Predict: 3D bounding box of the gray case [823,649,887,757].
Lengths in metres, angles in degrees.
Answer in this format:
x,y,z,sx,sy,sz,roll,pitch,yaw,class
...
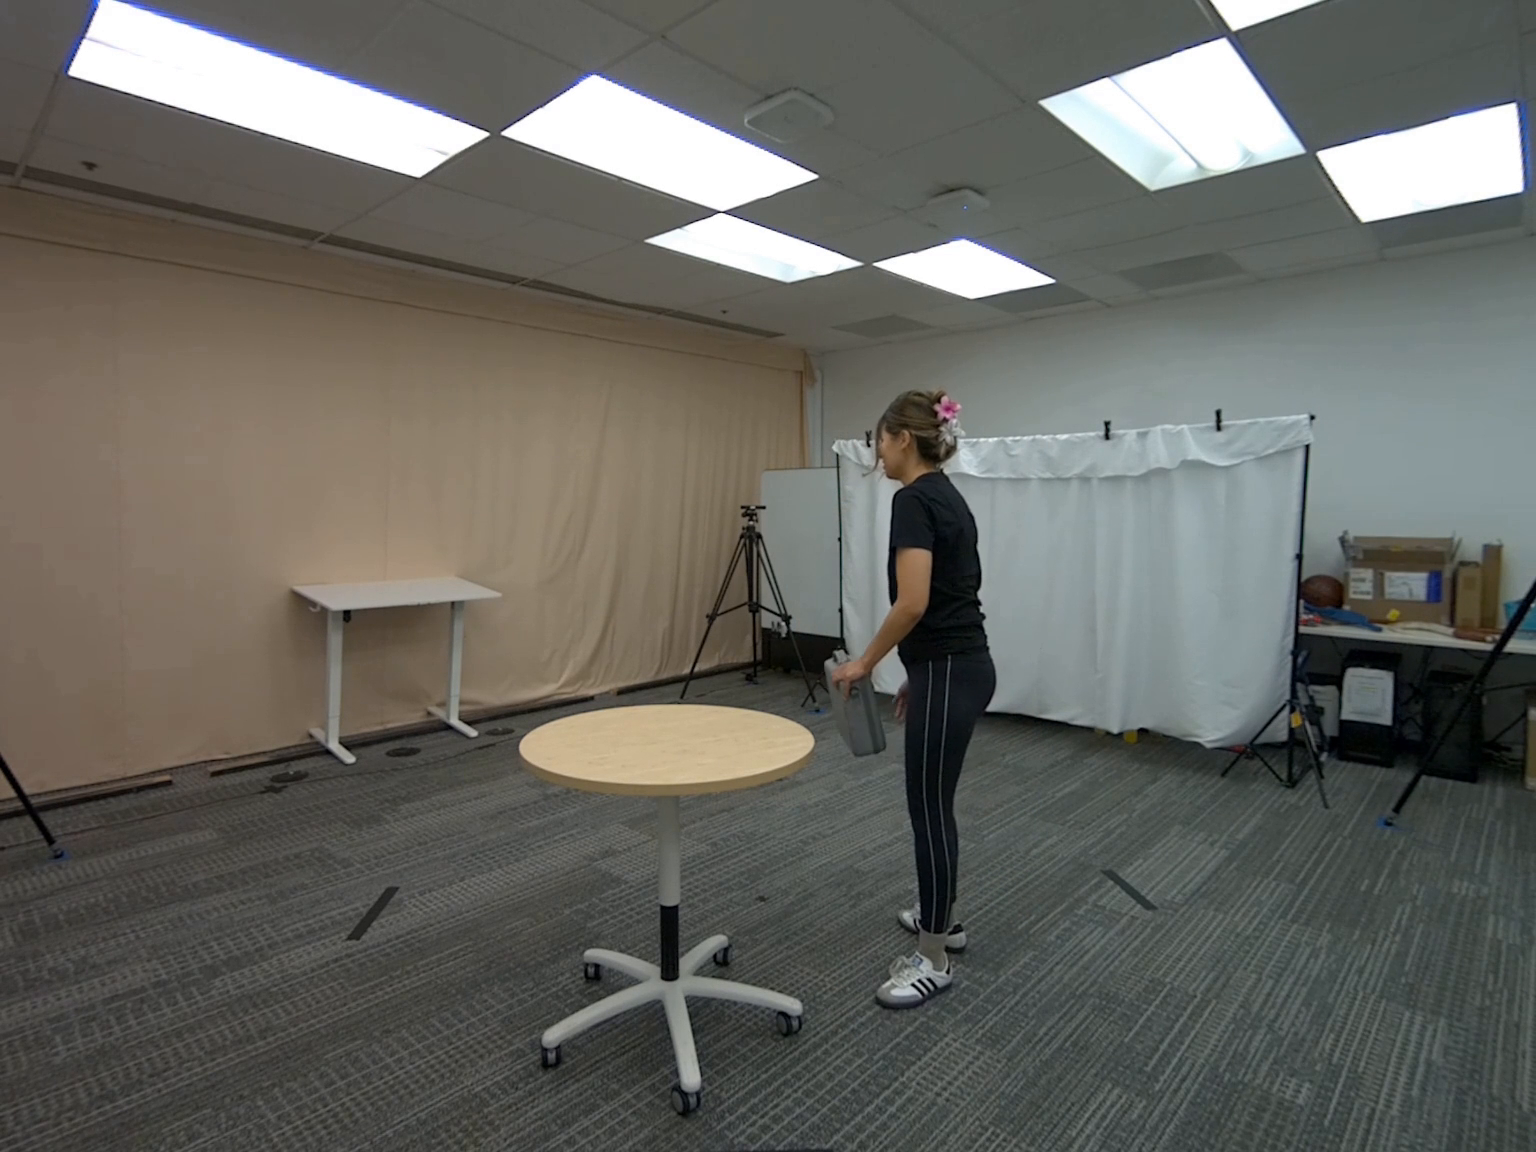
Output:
x,y,z,sx,sy,sz,roll,pitch,yaw,class
0.279,0.390,2.545,0.104,0.259,0.259,-14,7,-4,gray case
